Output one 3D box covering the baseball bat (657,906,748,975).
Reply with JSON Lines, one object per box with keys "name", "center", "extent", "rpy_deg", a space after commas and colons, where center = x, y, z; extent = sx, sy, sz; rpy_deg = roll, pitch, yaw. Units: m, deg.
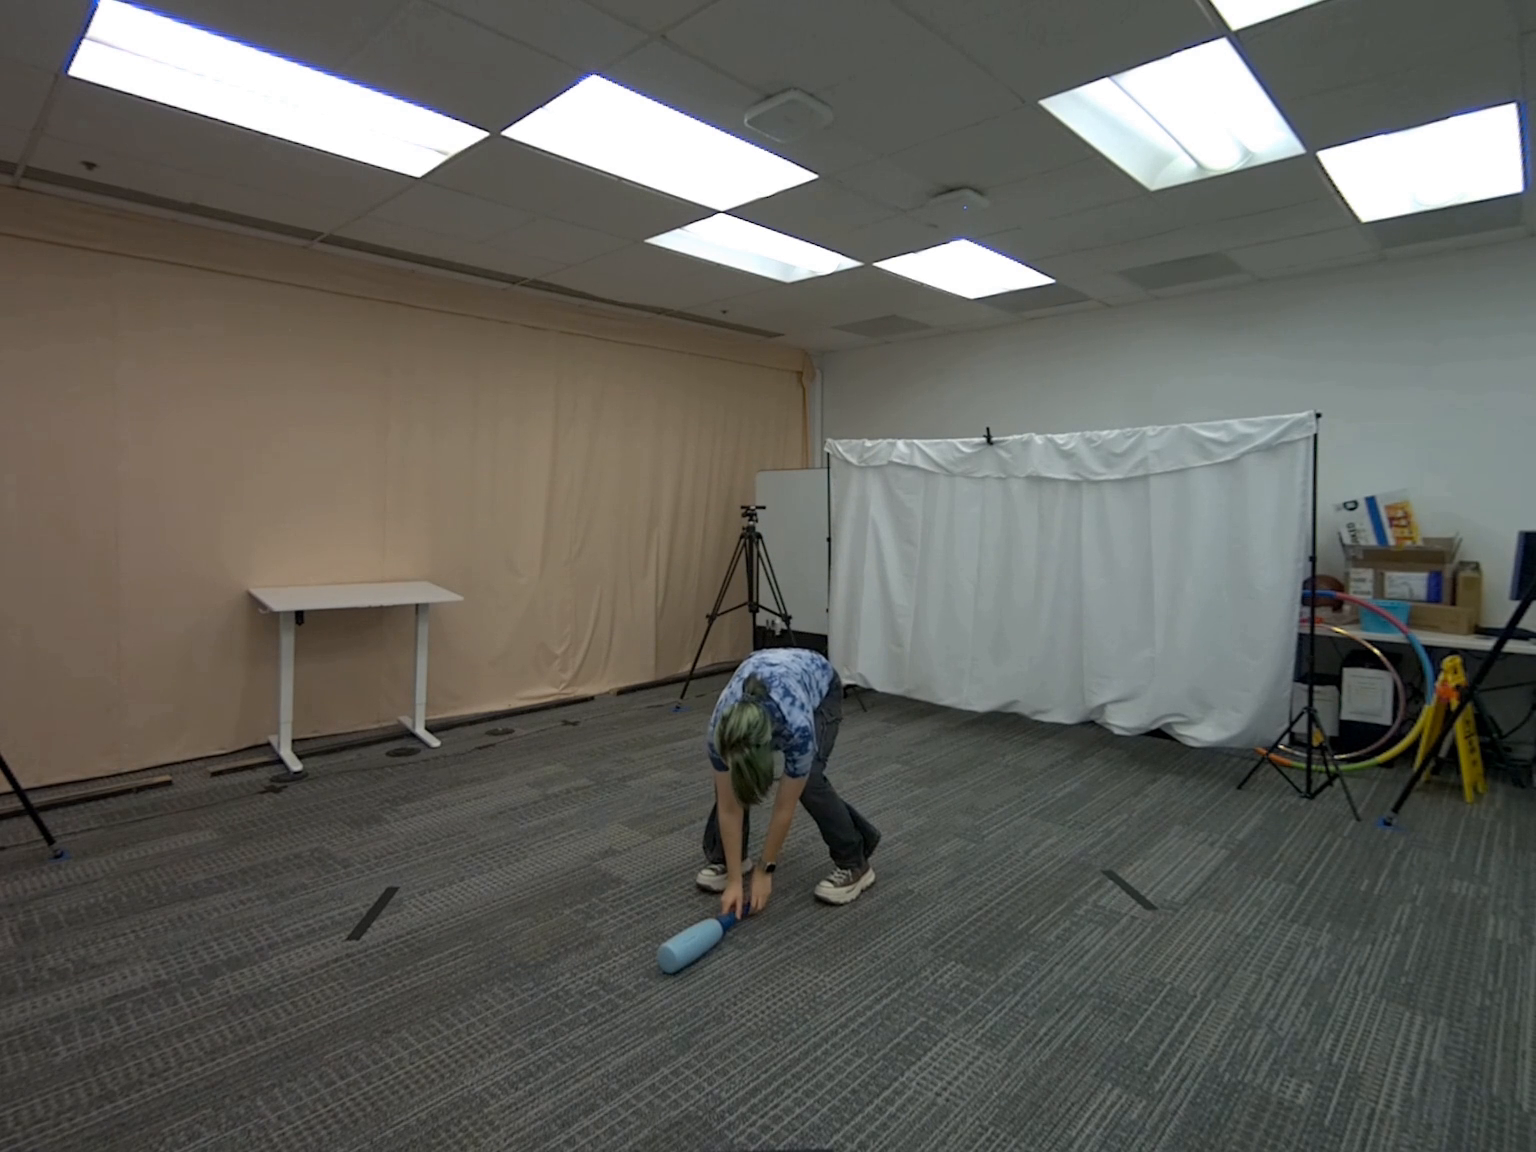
{"name": "baseball bat", "center": [-0.161, 1.131, 2.712], "extent": [0.092, 0.089, 0.527], "rpy_deg": [2, 2, 32]}
